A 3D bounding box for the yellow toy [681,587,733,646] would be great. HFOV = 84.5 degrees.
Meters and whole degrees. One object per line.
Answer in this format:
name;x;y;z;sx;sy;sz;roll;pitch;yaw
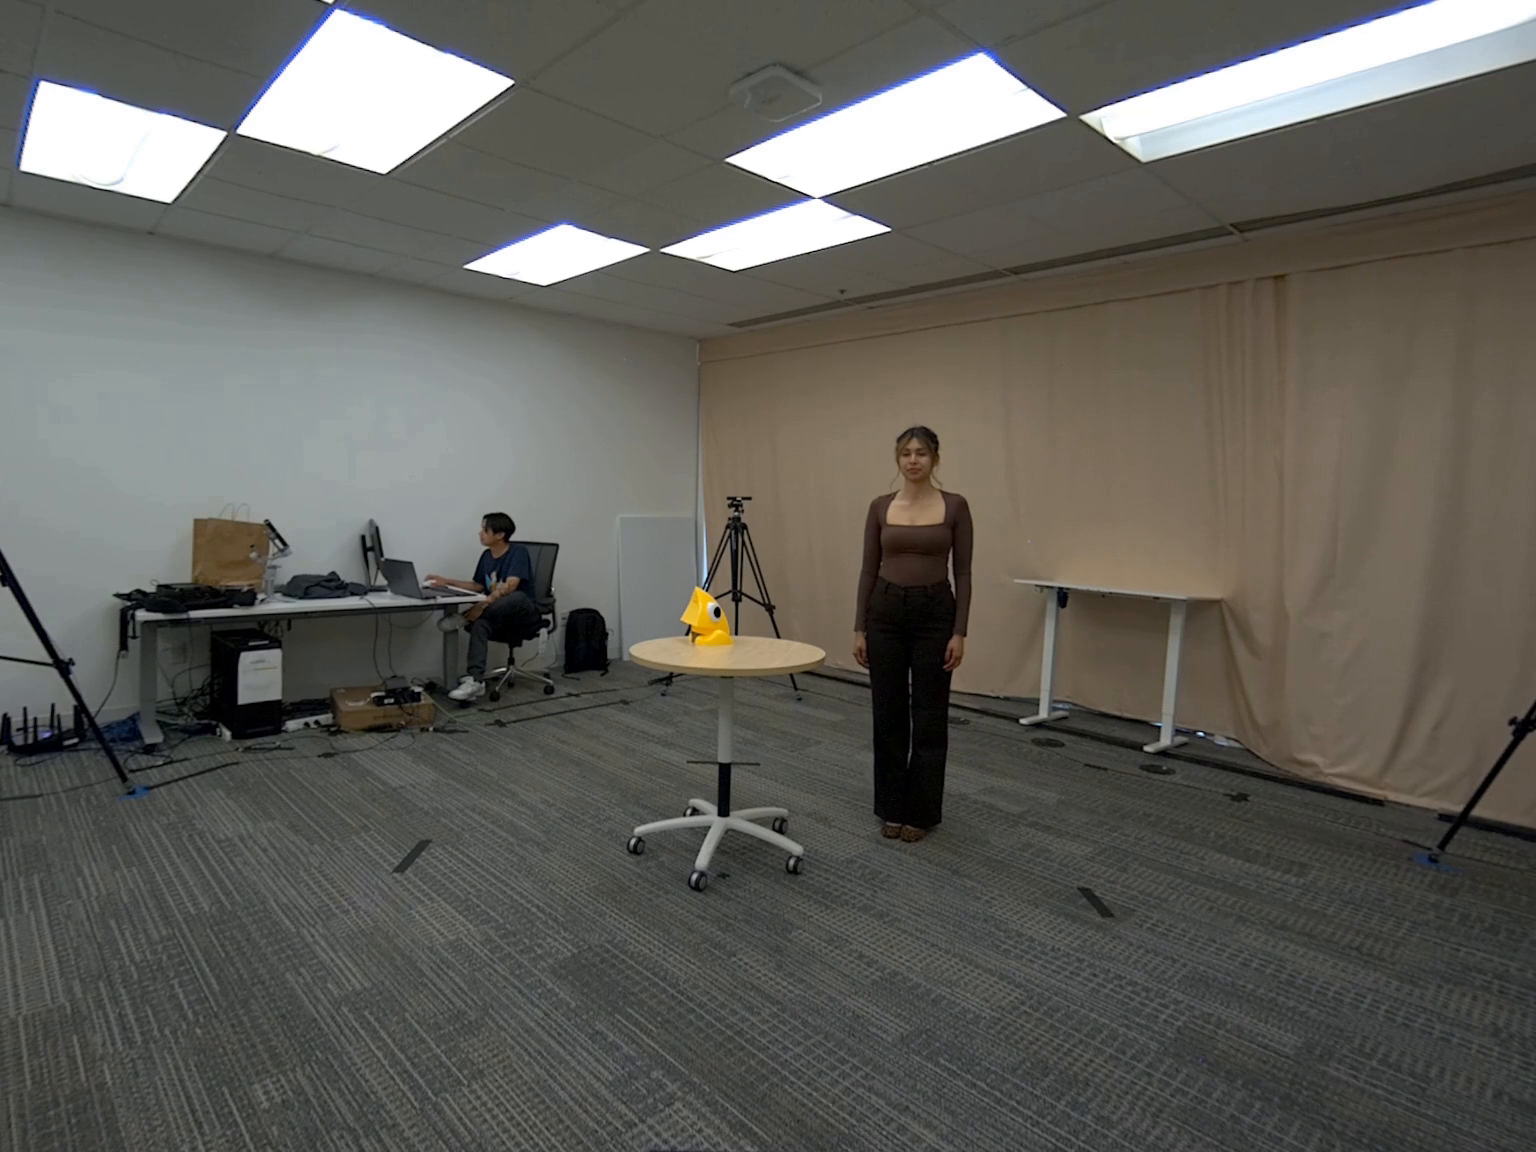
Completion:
yellow toy;-0.255;0.162;3.503;0.190;0.230;0.209;0;3;-24
